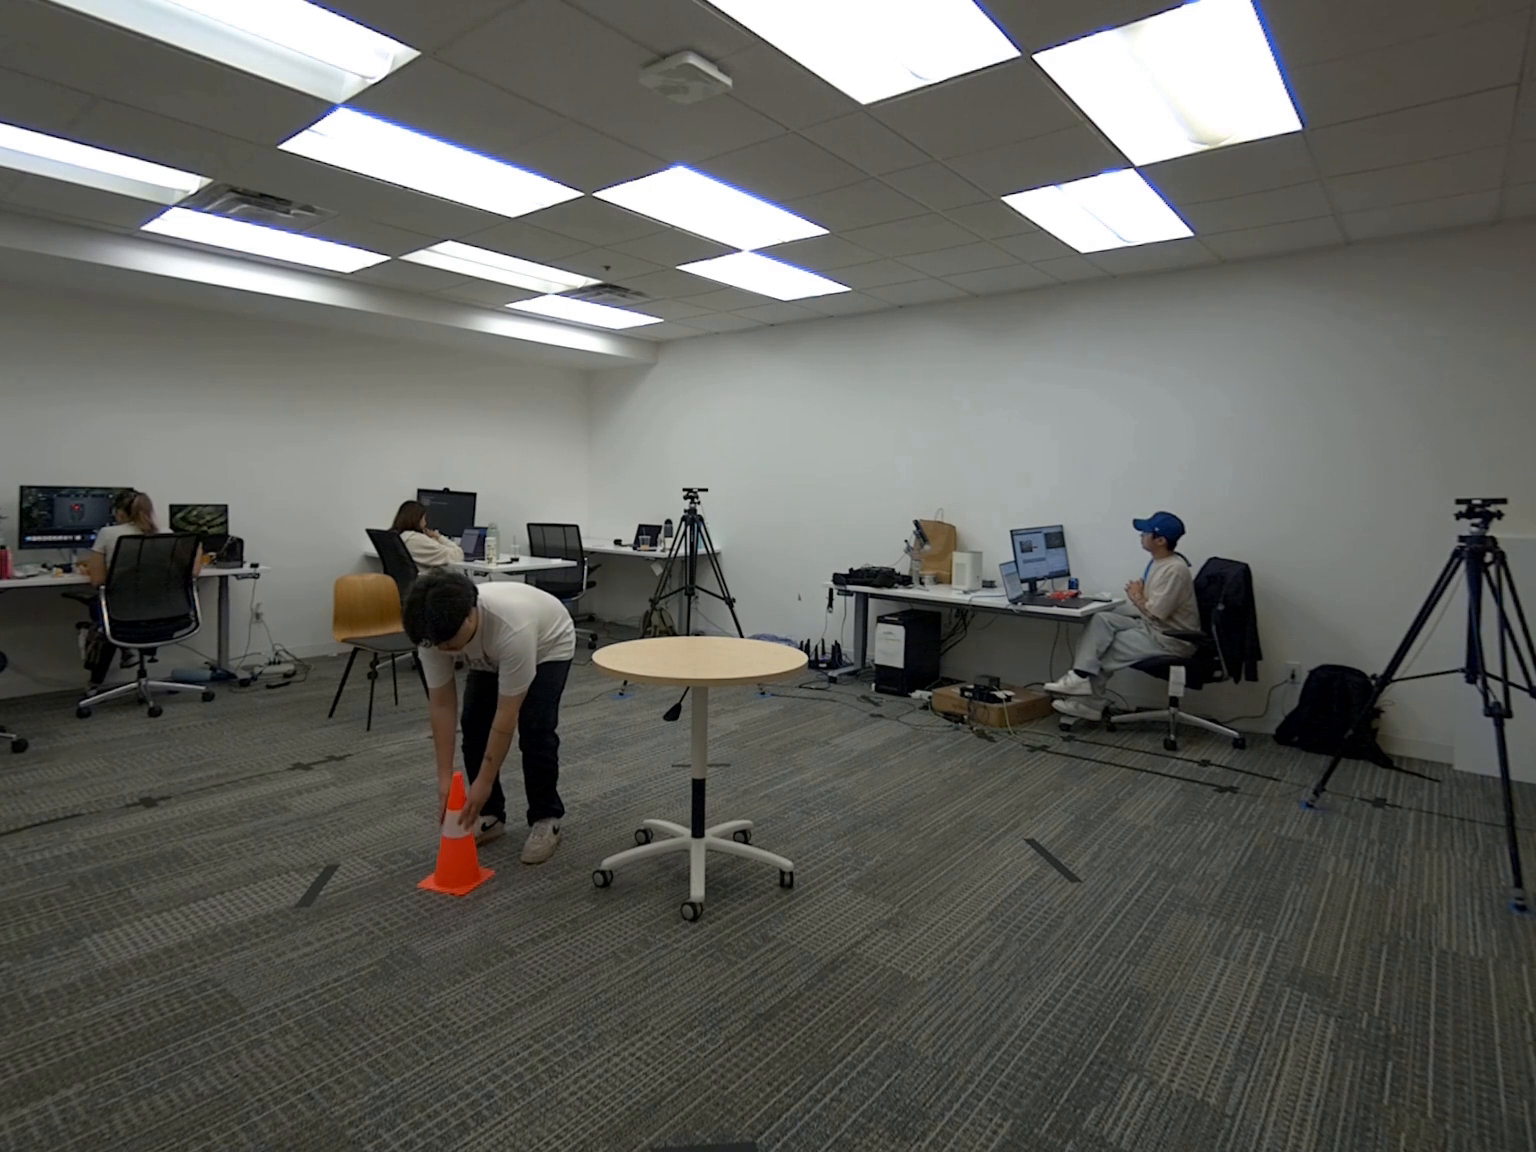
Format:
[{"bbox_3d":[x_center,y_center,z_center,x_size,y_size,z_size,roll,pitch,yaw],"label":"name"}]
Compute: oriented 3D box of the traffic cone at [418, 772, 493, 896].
[{"bbox_3d":[-1.116,0.885,2.990,0.209,0.382,0.200,5,5,28],"label":"traffic cone"}]
